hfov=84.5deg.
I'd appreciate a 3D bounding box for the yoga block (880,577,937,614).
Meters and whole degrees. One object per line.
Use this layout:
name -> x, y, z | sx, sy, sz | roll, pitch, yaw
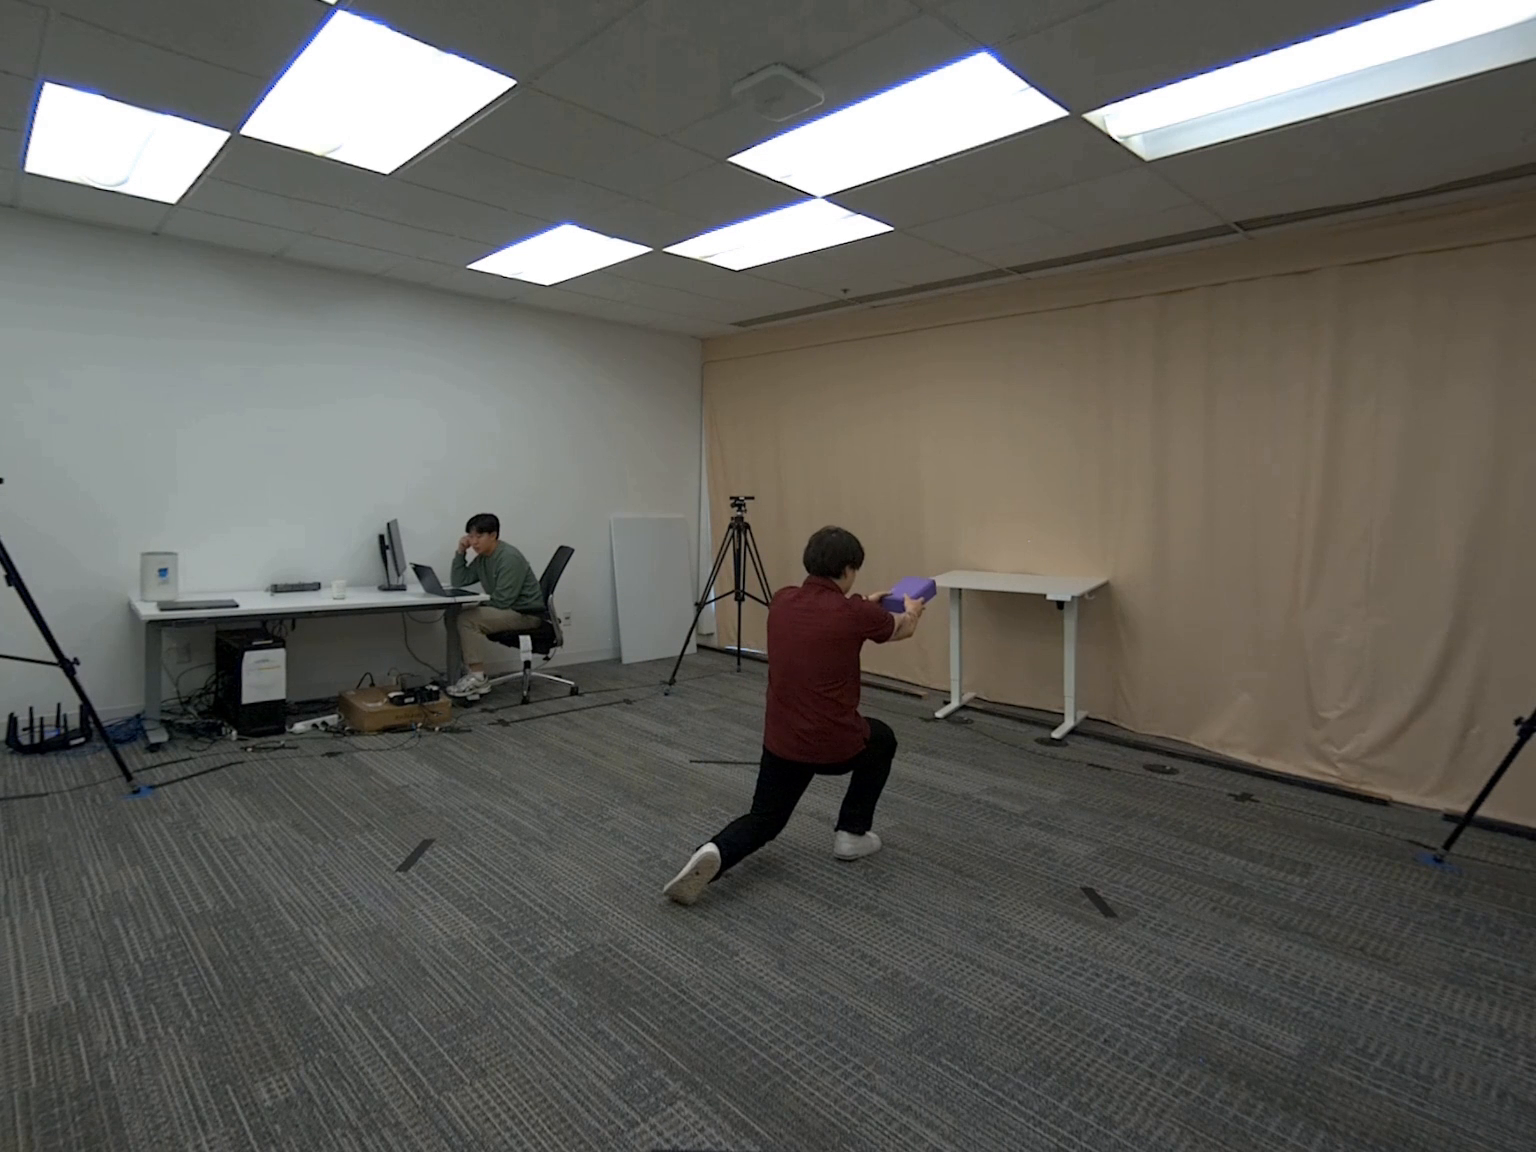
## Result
yoga block -> 0.600, 0.070, 3.631 | 0.153, 0.075, 0.227 | 6, 27, 40
